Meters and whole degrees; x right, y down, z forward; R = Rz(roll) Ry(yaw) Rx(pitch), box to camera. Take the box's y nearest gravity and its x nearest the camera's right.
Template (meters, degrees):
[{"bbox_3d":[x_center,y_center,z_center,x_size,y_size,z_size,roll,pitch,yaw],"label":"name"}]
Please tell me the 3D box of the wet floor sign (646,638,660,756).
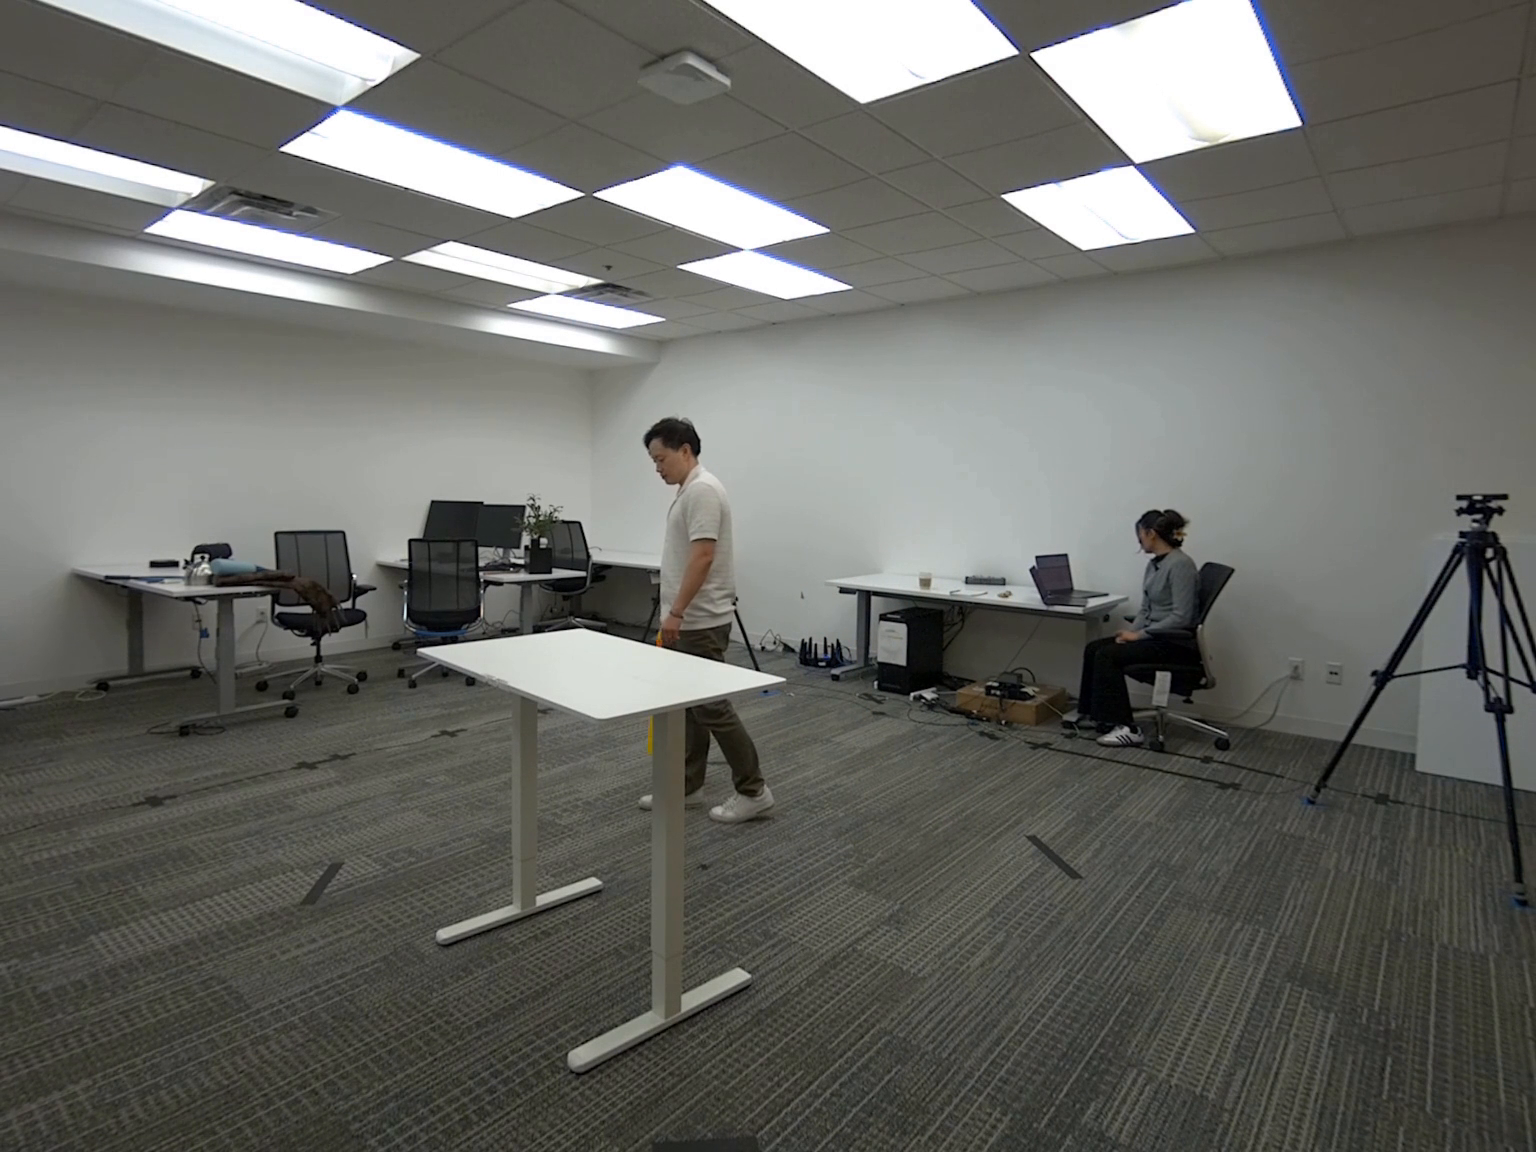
[{"bbox_3d":[-0.412,0.496,4.004,0.291,0.641,0.283,2,10,38],"label":"wet floor sign"}]
